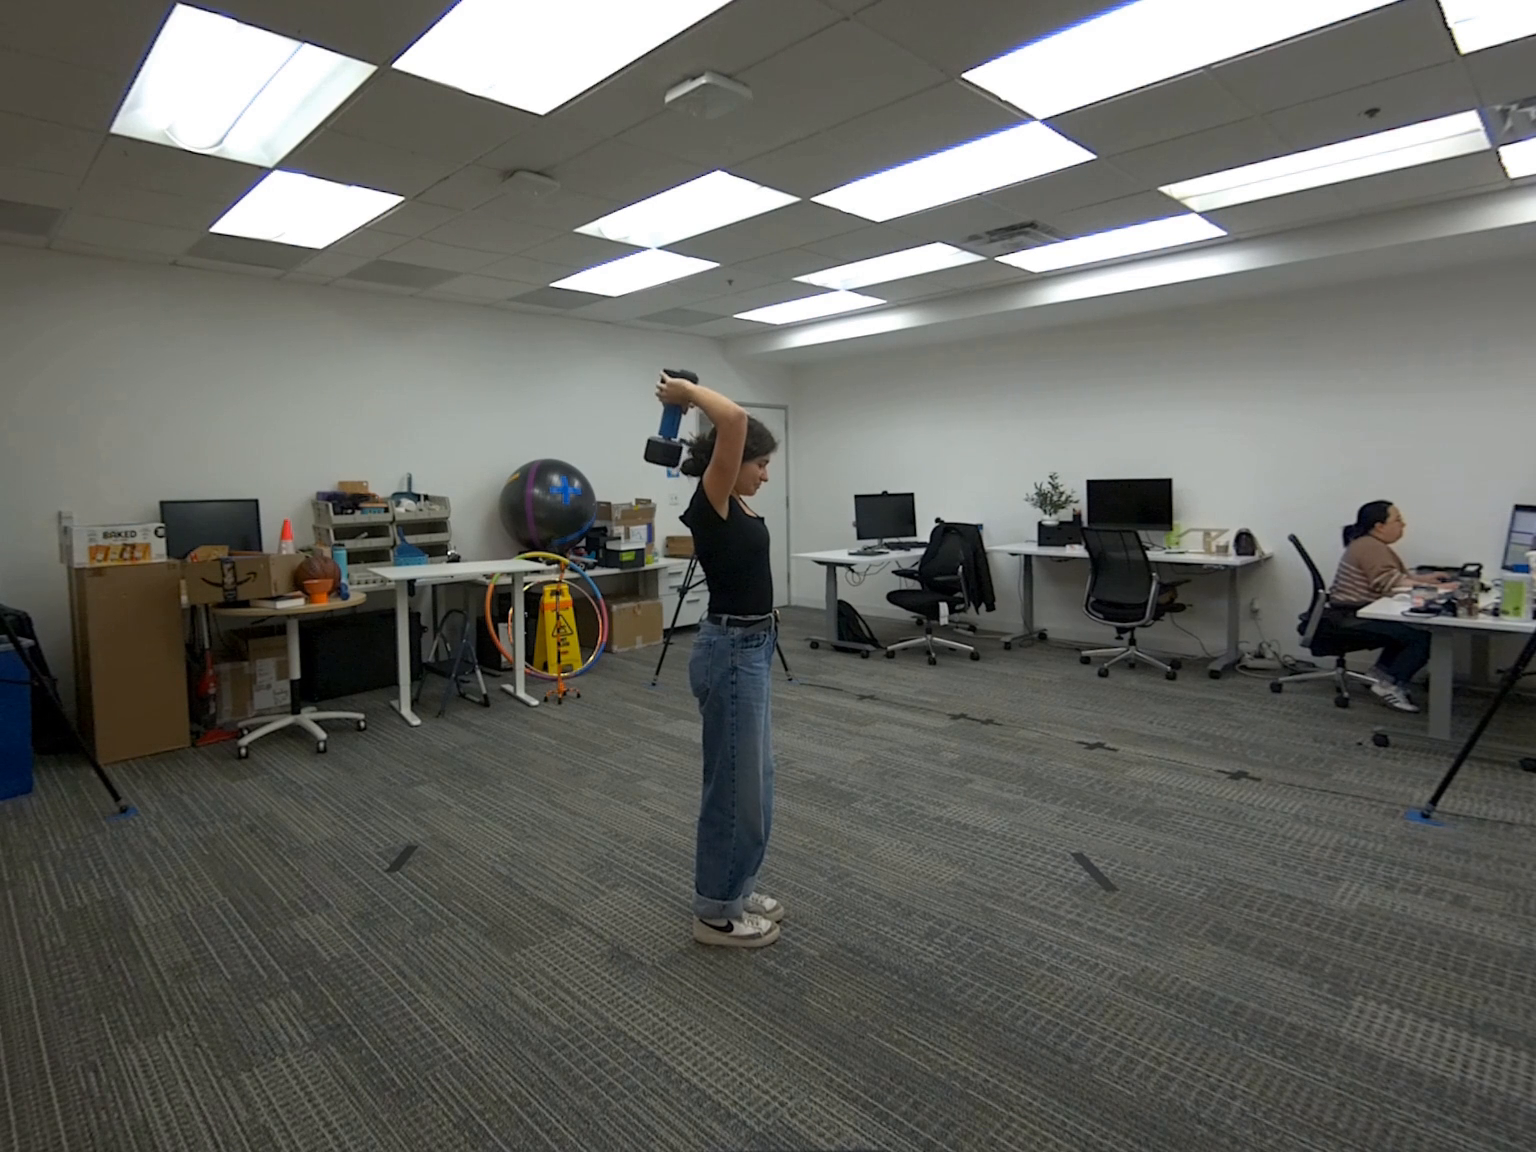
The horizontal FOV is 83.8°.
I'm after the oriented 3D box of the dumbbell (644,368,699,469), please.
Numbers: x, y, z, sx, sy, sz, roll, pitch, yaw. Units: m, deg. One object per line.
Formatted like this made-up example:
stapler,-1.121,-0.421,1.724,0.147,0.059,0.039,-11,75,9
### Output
dumbbell,-0.284,-0.479,2.580,0.127,0.292,0.106,18,8,27
